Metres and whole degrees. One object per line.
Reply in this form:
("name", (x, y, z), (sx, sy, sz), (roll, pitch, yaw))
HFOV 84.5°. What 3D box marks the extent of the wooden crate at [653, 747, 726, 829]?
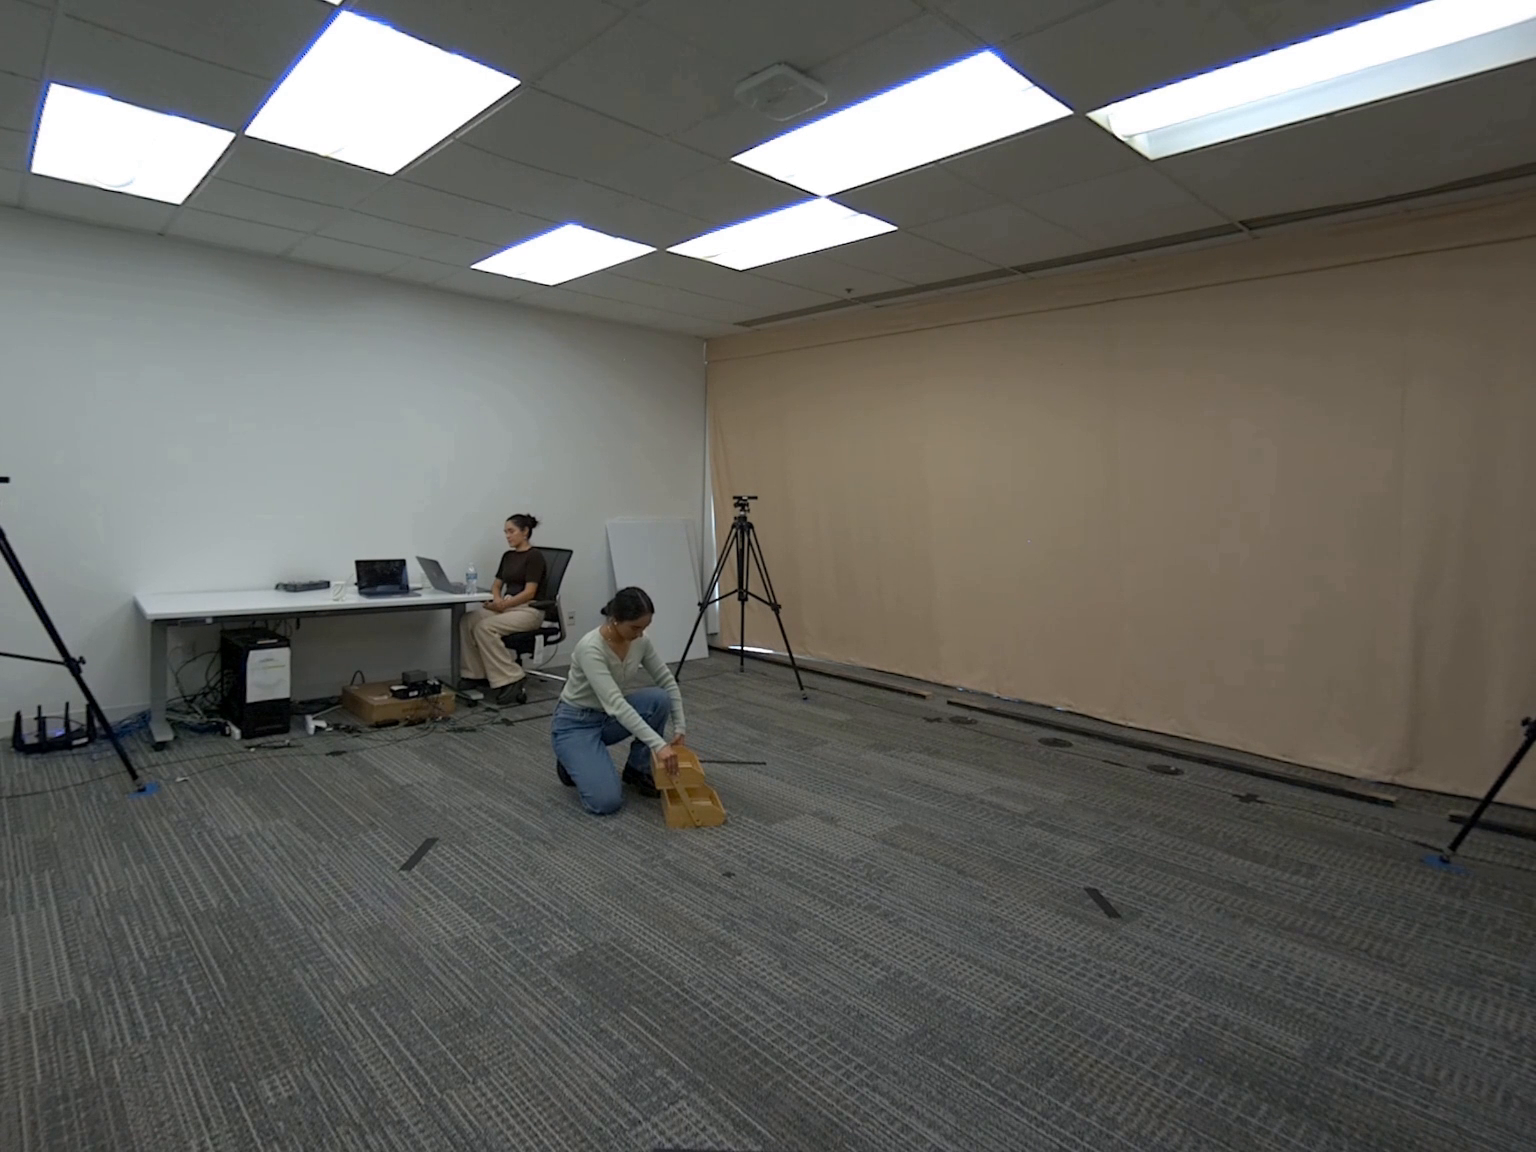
("wooden crate", (-0.357, 0.913, 3.693), (0.299, 0.272, 0.328), (0, 4, -11))
